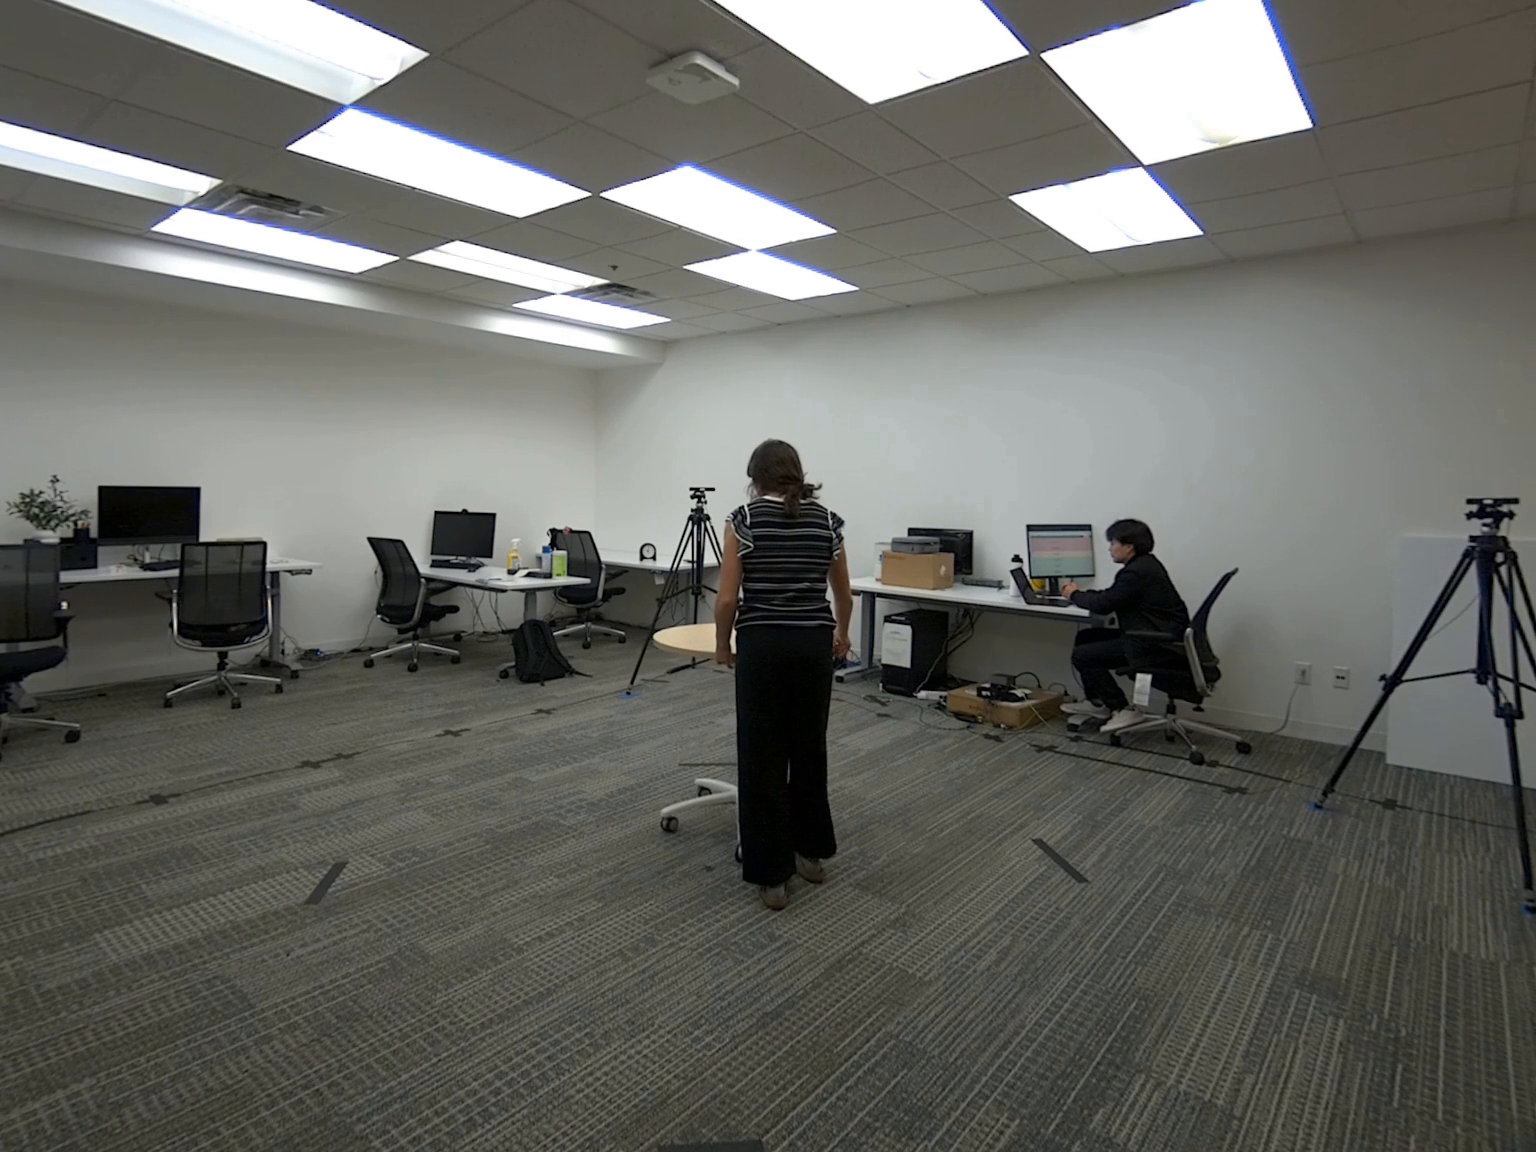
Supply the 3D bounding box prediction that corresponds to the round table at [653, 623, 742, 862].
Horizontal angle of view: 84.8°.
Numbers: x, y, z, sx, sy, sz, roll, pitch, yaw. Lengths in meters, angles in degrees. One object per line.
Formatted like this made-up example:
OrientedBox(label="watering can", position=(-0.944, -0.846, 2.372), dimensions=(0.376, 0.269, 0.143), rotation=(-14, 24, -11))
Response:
OrientedBox(label="round table", position=(-0.119, 0.632, 3.511), dimensions=(0.784, 0.784, 0.789), rotation=(1, 4, -2))
